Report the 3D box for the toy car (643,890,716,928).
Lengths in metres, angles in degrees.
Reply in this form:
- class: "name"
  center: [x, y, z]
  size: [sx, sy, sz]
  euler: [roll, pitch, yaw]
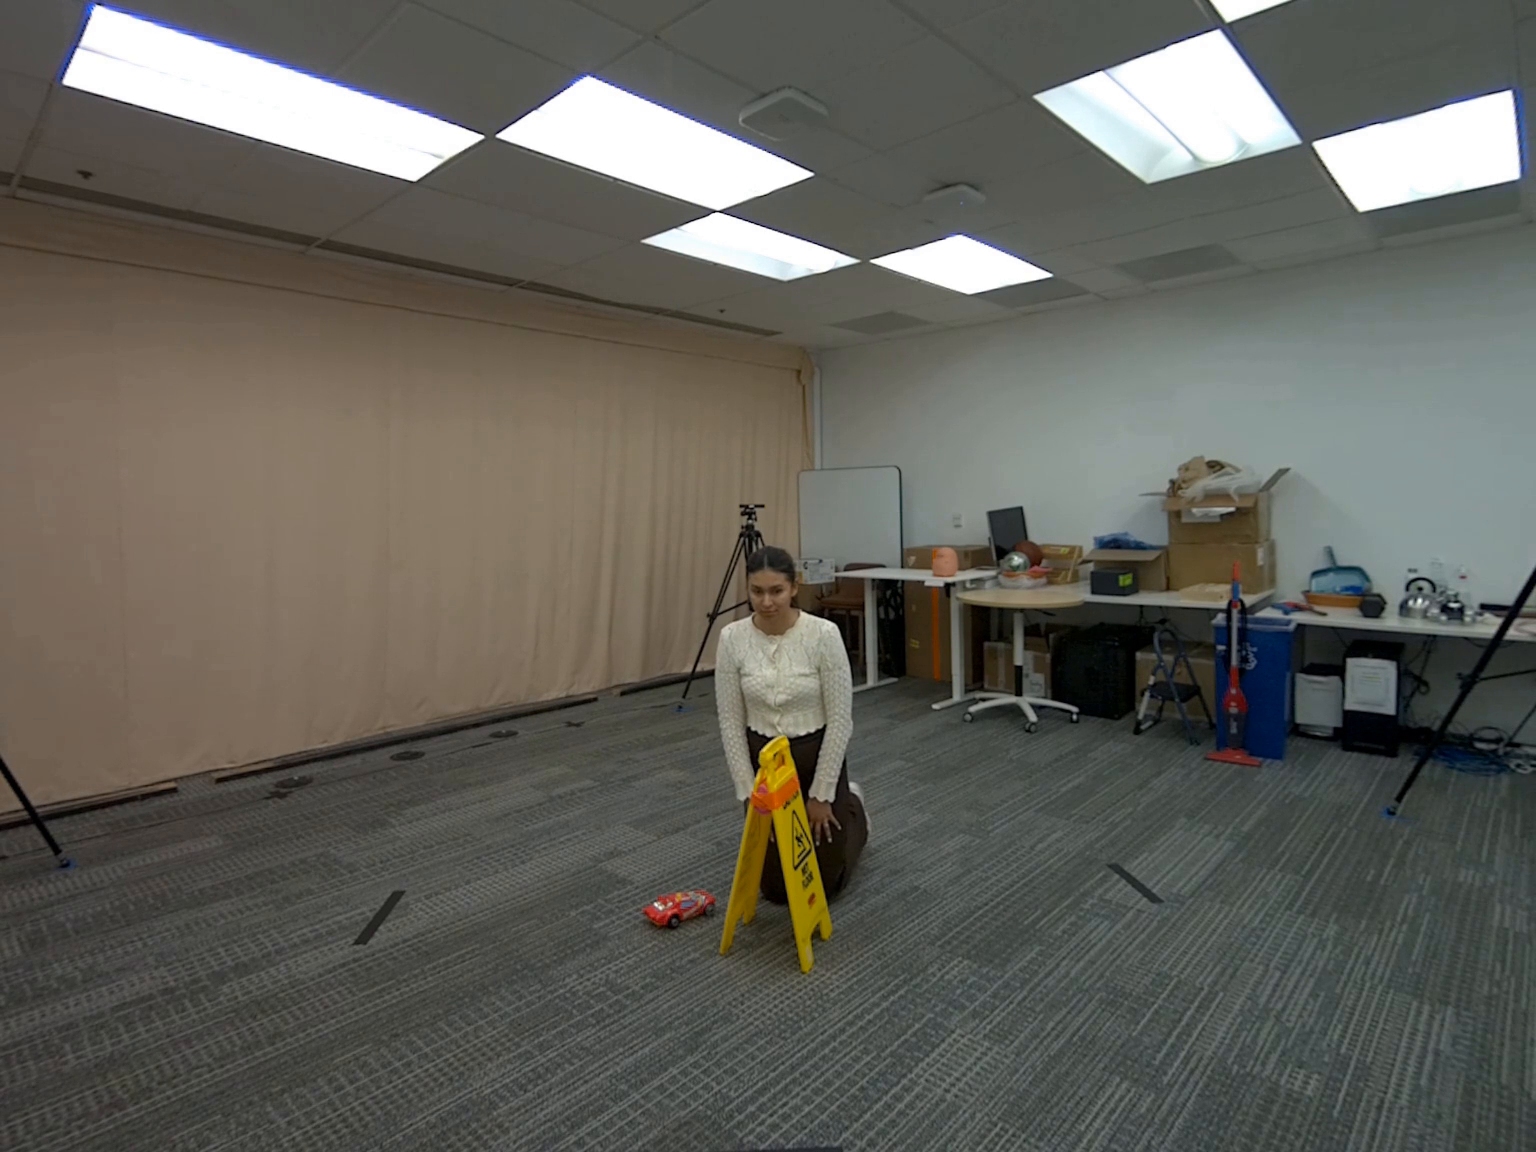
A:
- class: "toy car"
  center: [-0.304, 1.129, 2.850]
  size: [0.246, 0.083, 0.134]
  euler: [9, -3, -35]
